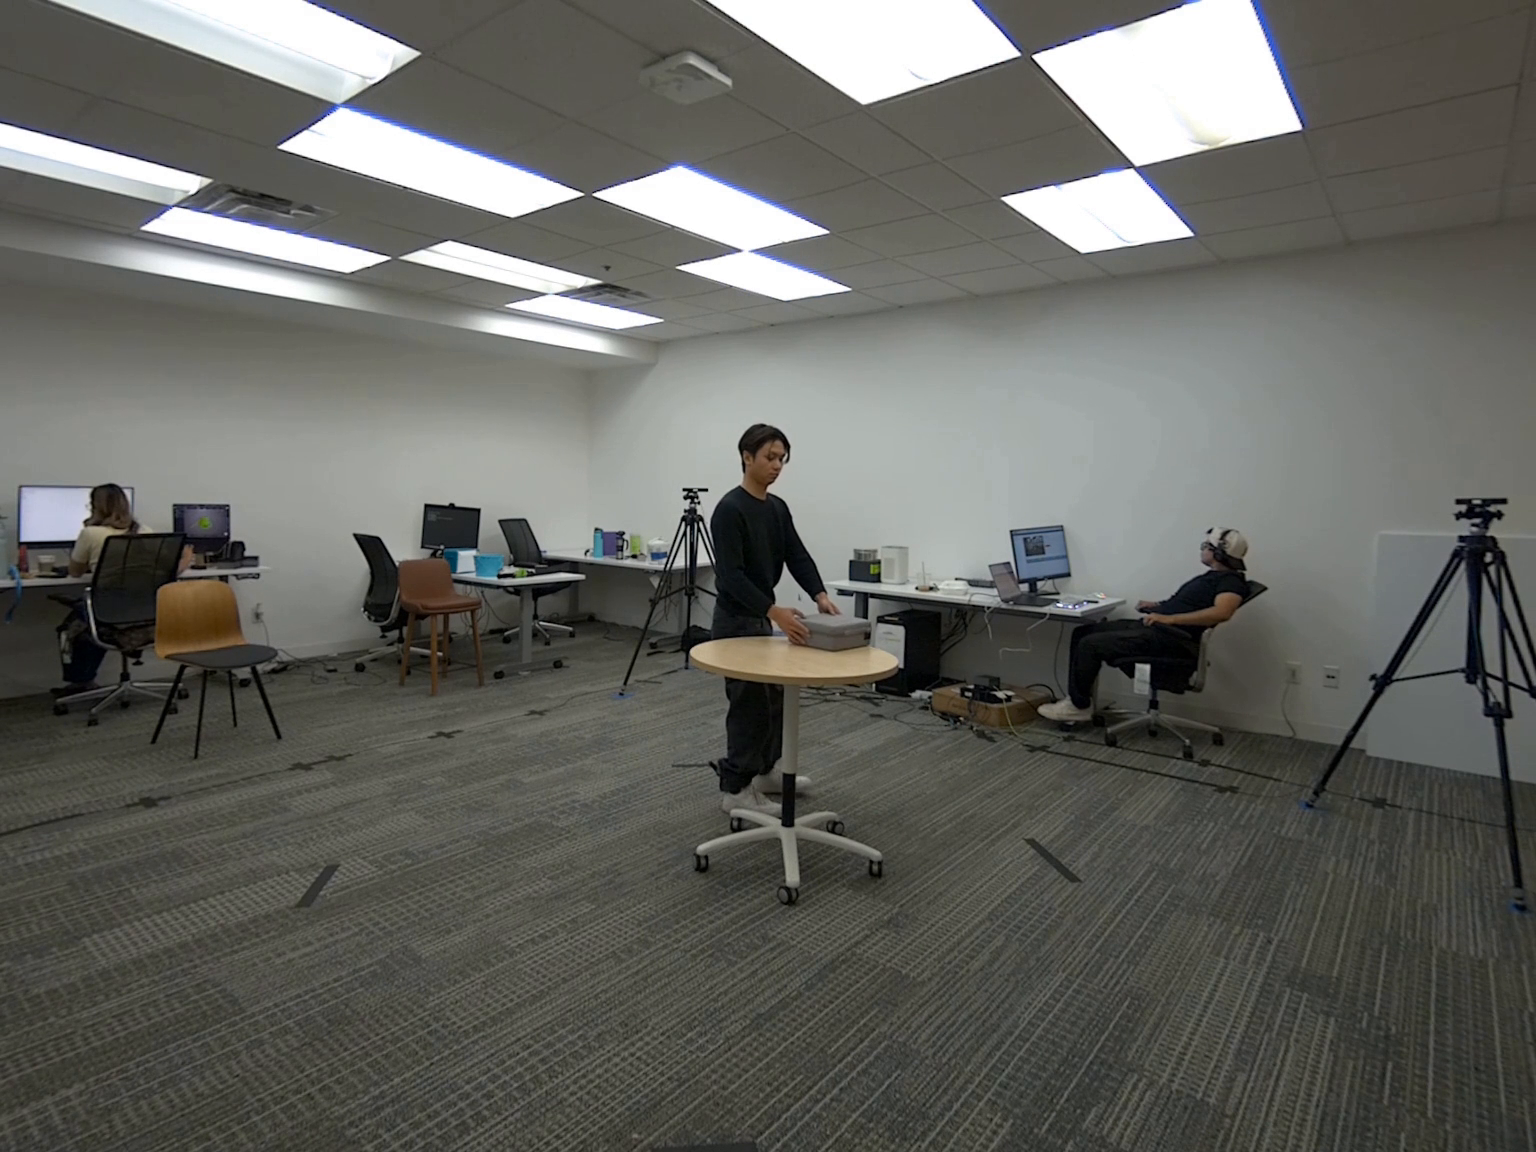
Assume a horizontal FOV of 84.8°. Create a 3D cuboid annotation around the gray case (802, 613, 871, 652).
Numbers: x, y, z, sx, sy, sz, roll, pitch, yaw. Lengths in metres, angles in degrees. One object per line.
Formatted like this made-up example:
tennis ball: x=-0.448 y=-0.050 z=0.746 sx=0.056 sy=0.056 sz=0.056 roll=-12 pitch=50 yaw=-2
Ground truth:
gray case: x=0.236 y=0.218 z=3.368 sx=0.249 sy=0.104 sz=0.270 roll=-5 pitch=9 yaw=-40
